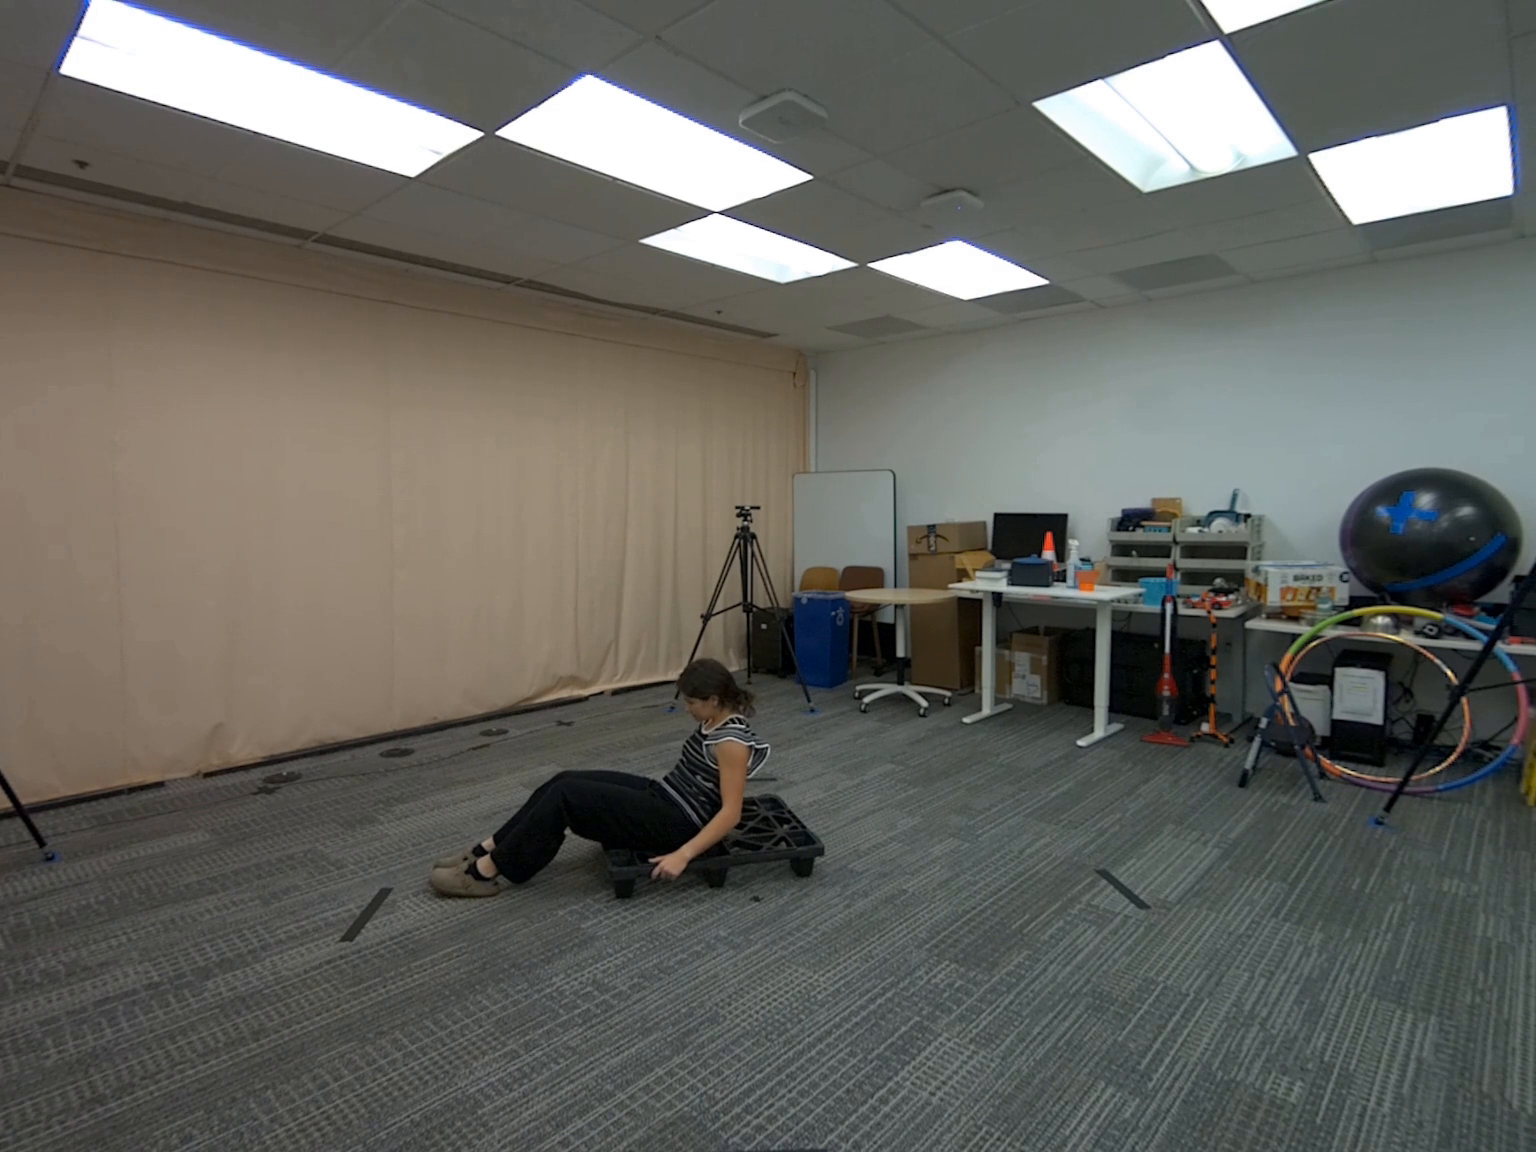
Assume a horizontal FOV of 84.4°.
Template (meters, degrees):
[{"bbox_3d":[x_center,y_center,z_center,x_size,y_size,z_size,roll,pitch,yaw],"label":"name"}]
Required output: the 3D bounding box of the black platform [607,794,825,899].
[{"bbox_3d":[-0.256,1.051,3.296,0.794,0.143,0.615,-2,4,-15],"label":"black platform"}]
